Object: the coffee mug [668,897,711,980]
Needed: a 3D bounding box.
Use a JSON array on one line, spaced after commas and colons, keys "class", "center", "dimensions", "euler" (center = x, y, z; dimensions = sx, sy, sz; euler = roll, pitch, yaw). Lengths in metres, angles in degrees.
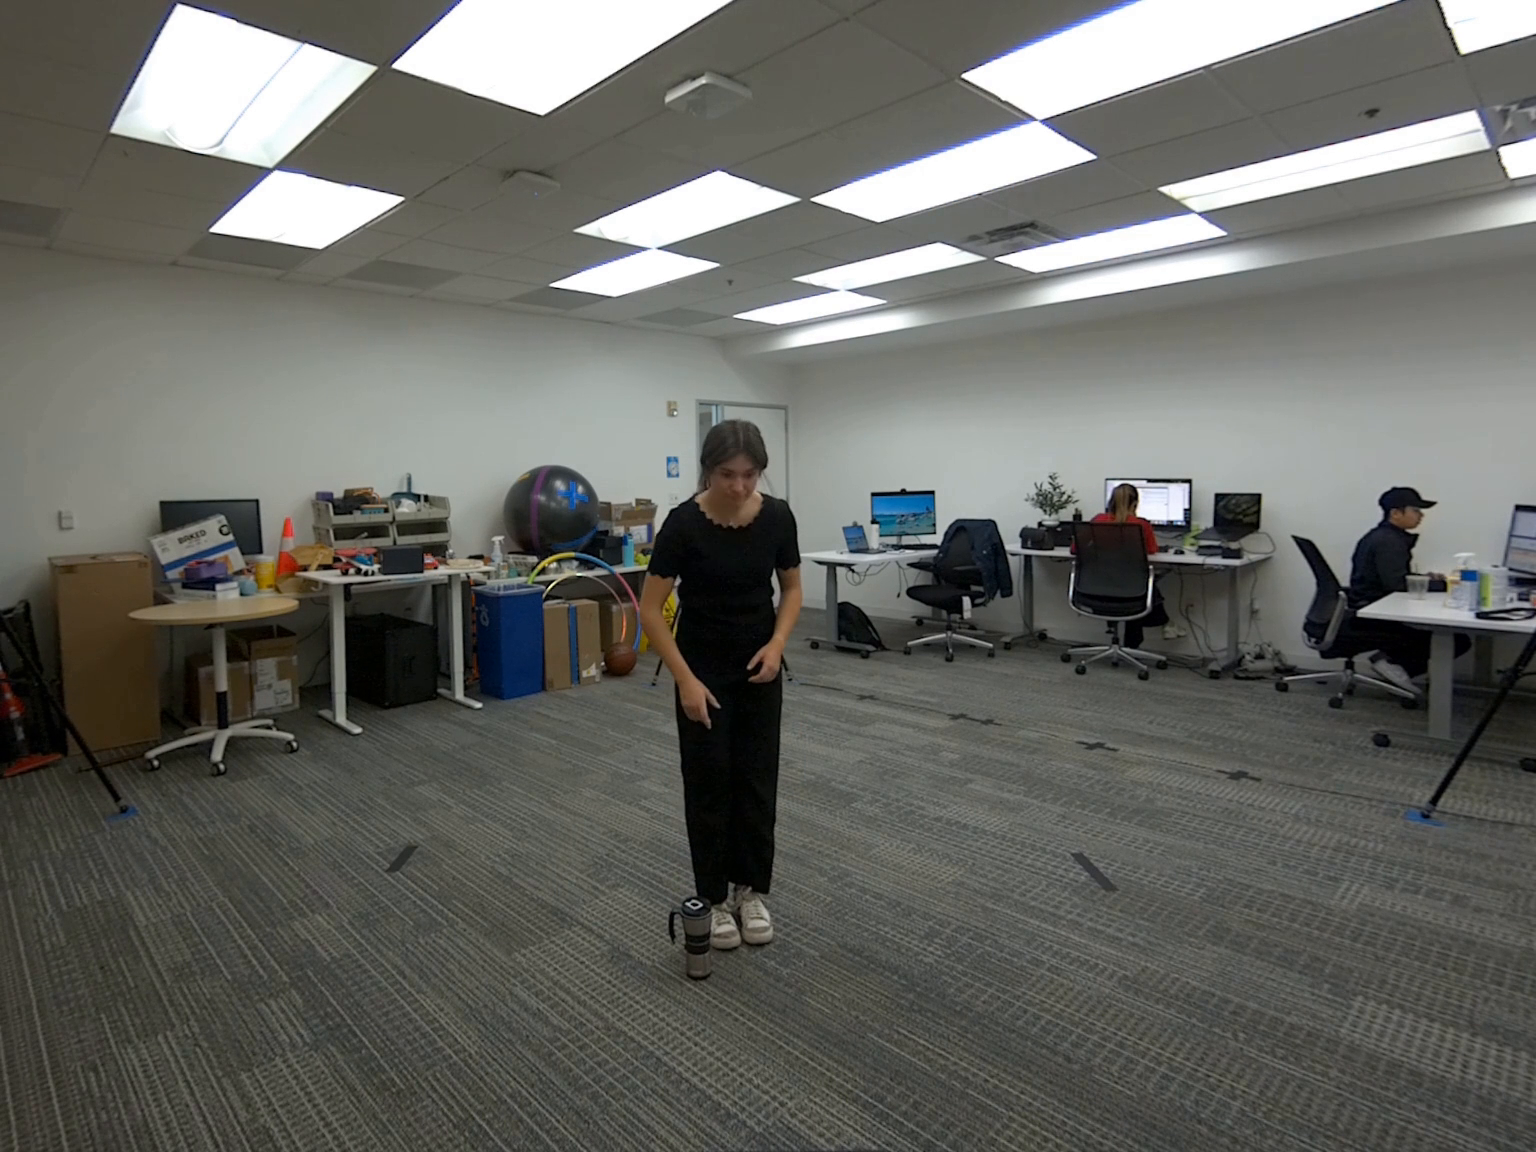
[{"class": "coffee mug", "center": [-0.216, 1.036, 2.428], "dimensions": [0.125, 0.202, 0.086], "euler": [4, 8, 35]}]
